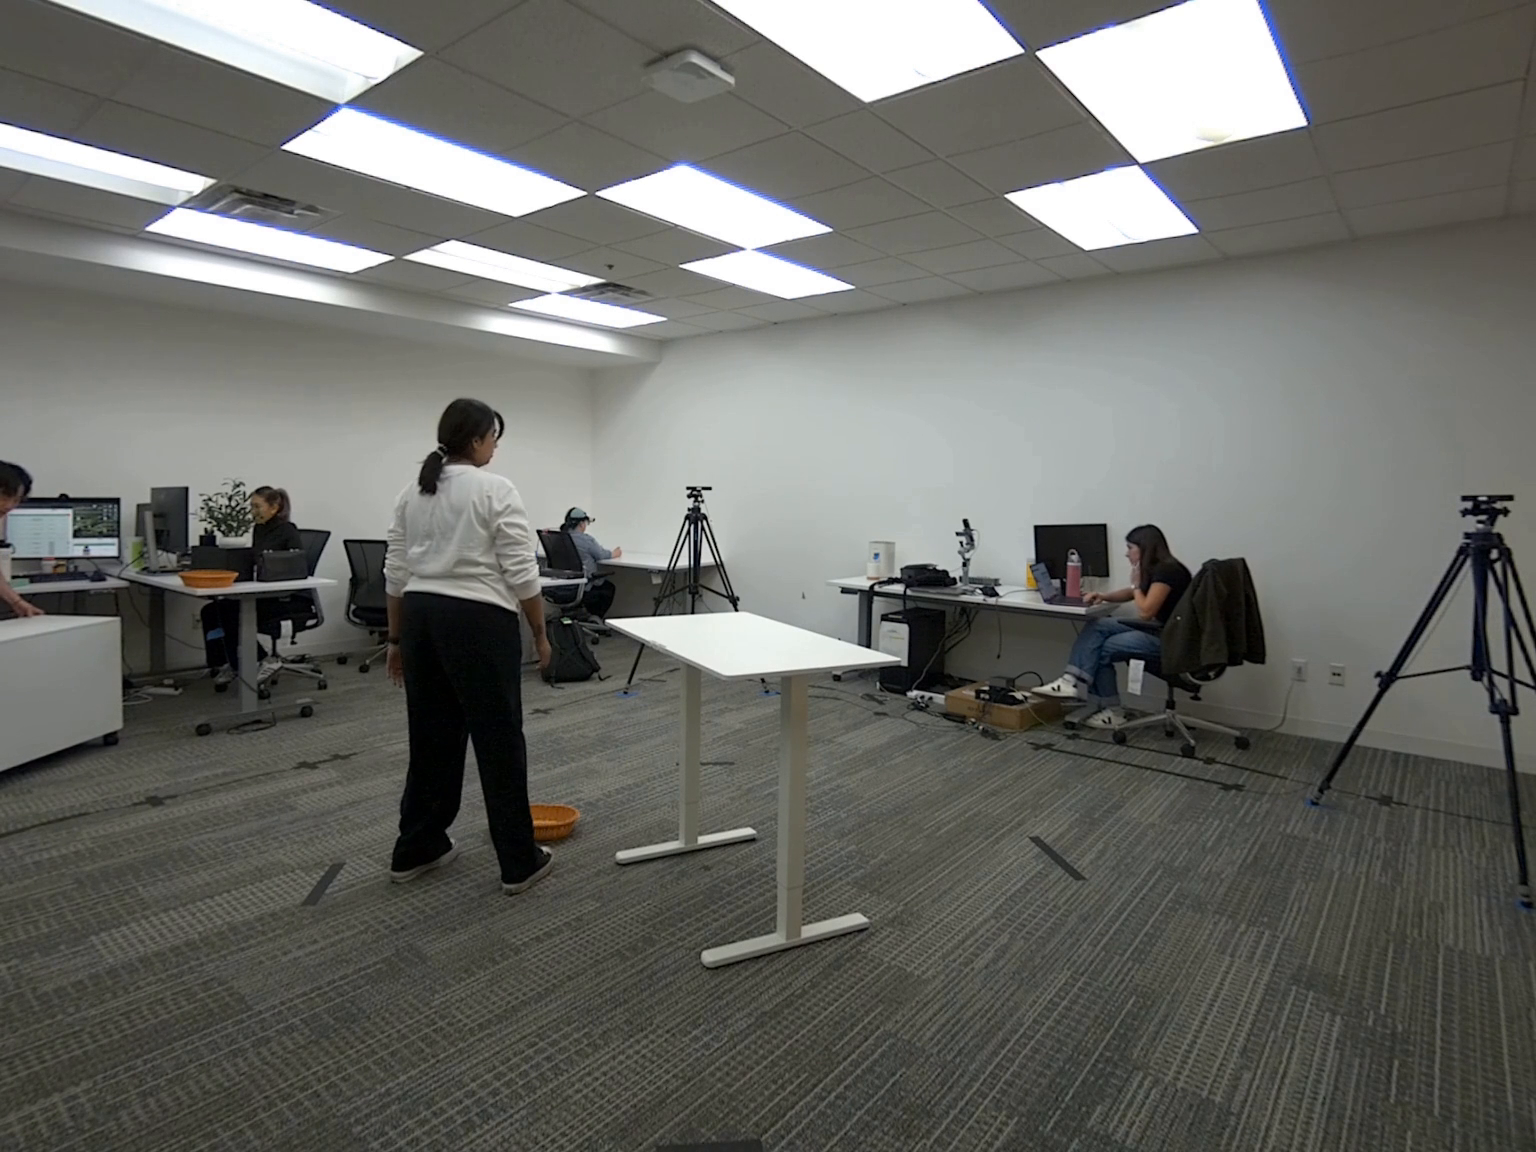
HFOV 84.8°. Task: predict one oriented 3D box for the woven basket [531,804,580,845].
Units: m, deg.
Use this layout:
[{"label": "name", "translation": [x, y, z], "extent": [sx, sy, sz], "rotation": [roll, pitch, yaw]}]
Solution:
[{"label": "woven basket", "translation": [-0.931, 0.981, 3.409], "extent": [0.350, 0.073, 0.253], "rotation": [0, 3, -3]}]
